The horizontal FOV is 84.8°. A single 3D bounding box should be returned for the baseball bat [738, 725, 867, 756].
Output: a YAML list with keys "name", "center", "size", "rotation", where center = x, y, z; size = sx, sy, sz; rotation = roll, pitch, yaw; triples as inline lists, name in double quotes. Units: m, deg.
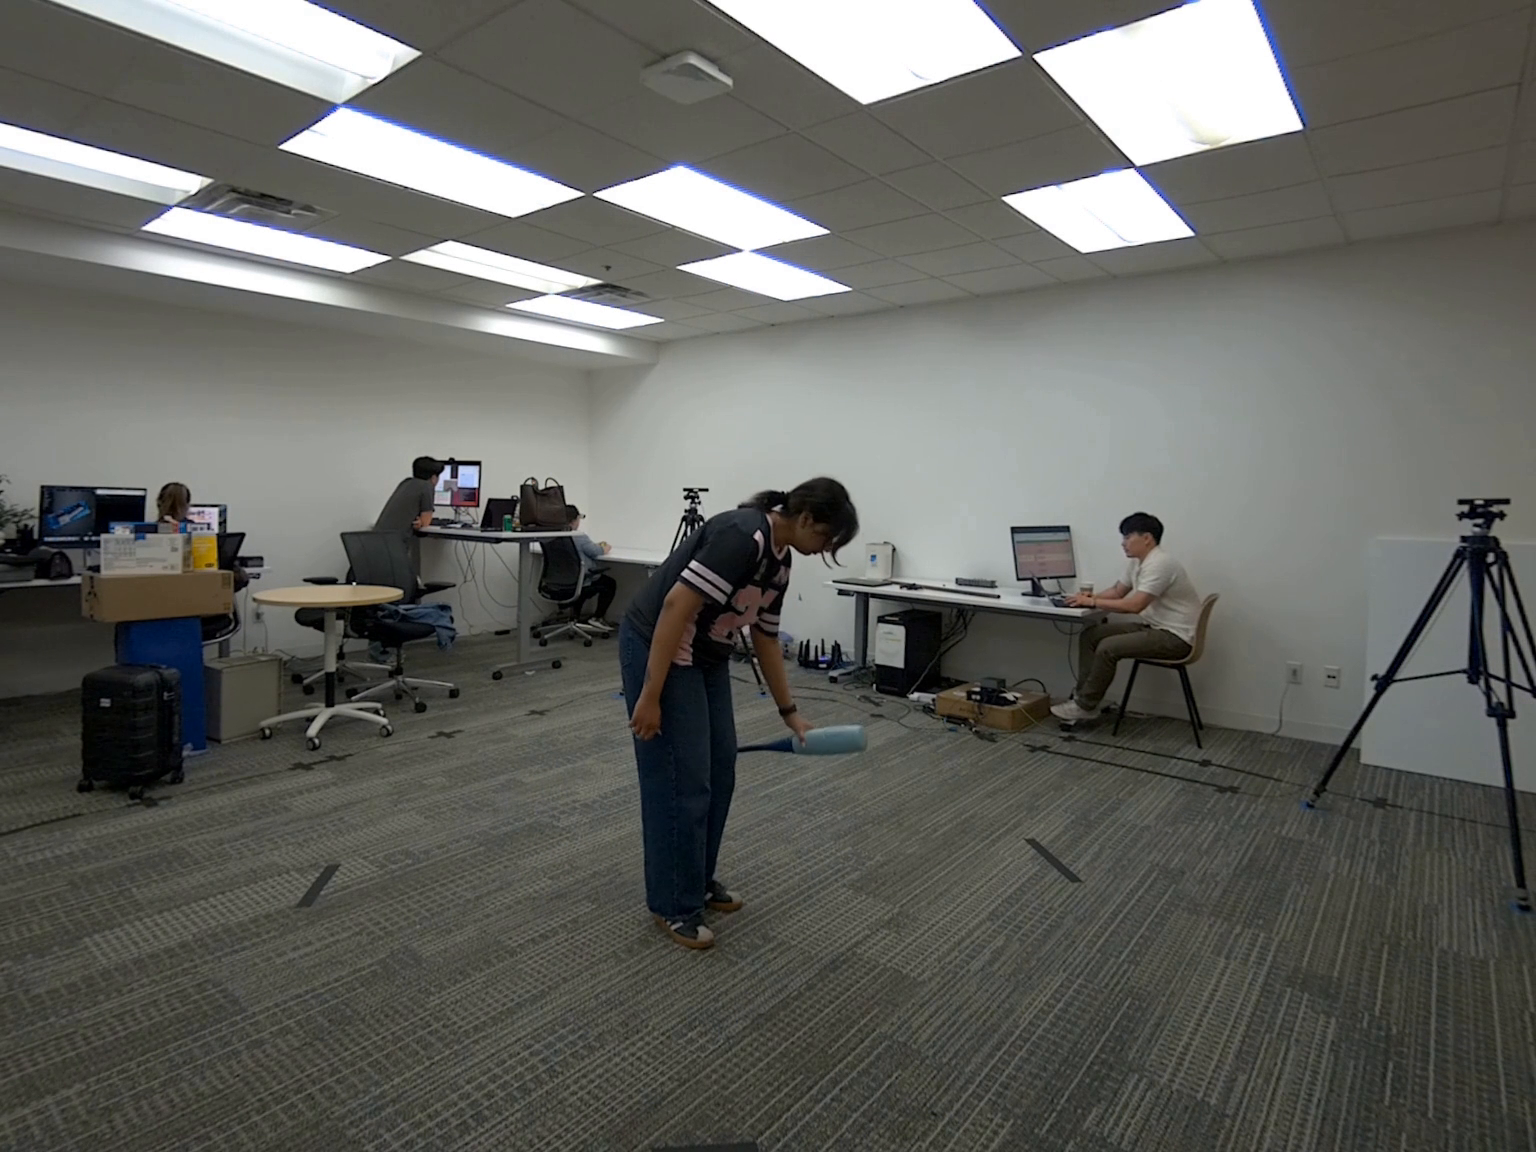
- name: "baseball bat"
  center: [0.072, 0.587, 2.896]
  size: [0.554, 0.089, 0.087]
  rotation: [-12, -2, 27]
